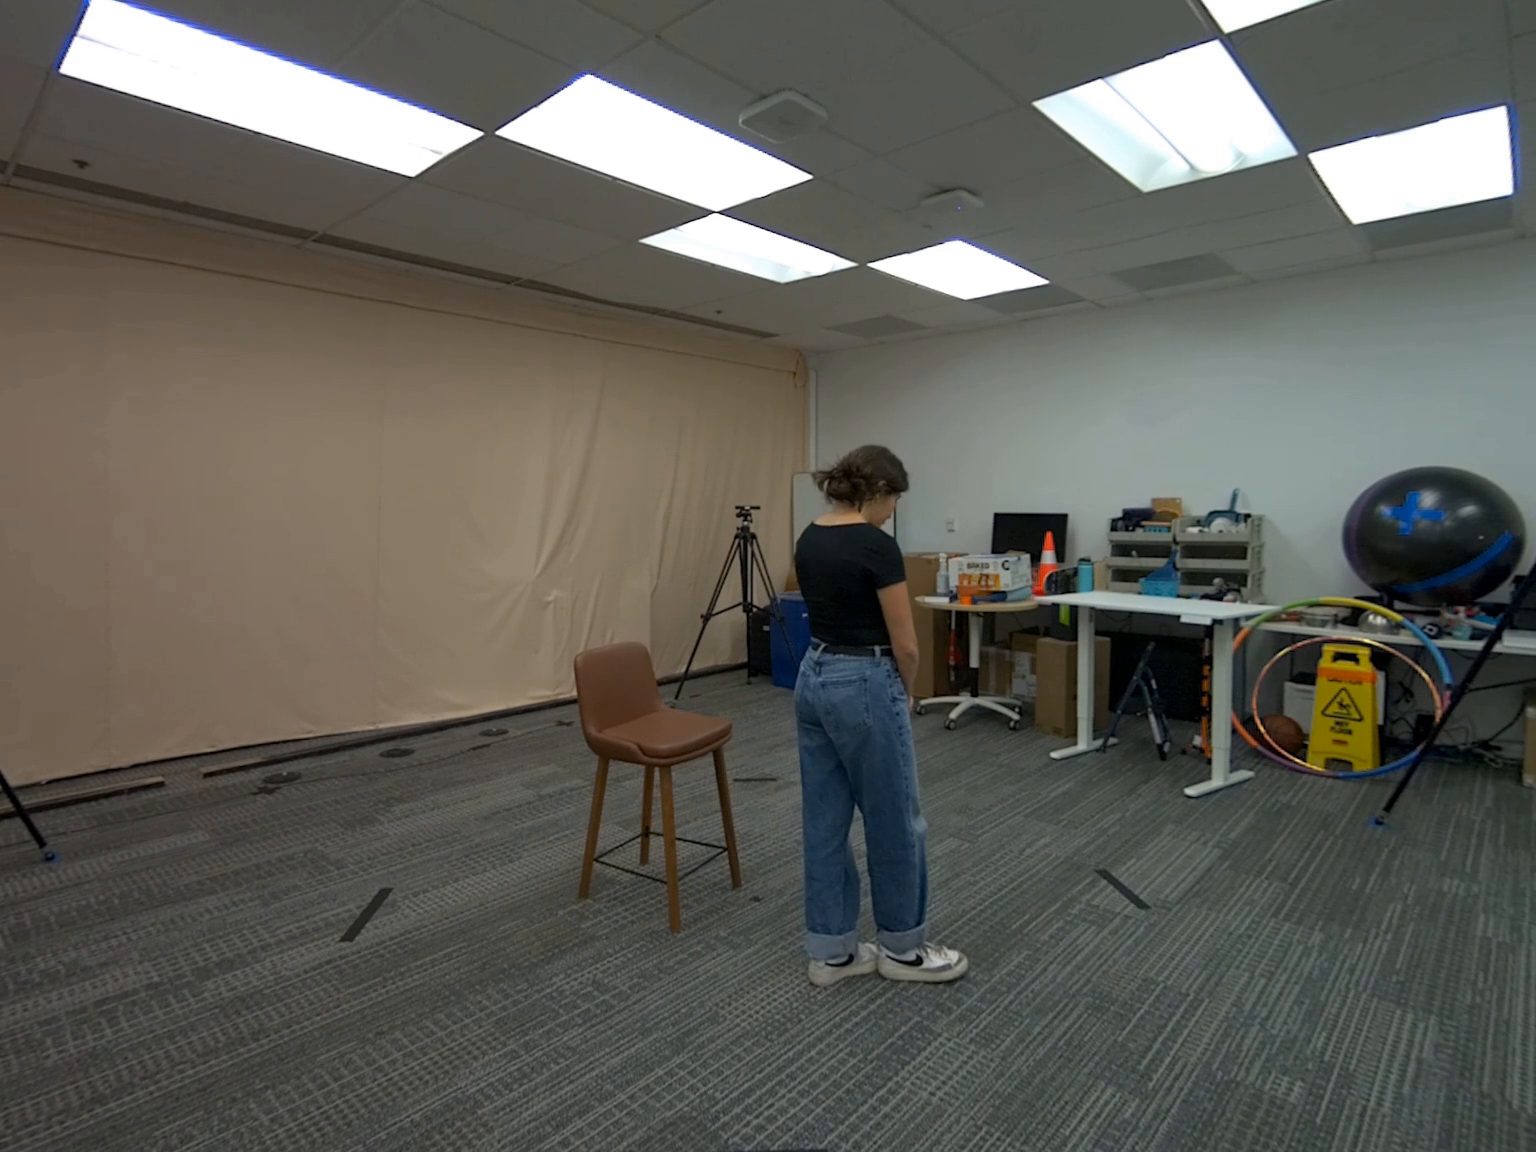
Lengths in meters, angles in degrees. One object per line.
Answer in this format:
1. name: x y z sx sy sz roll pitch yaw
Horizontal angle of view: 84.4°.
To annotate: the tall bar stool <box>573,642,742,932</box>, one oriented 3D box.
1. tall bar stool: -0.399 0.709 3.018 0.481 0.888 0.444 -1 2 33
